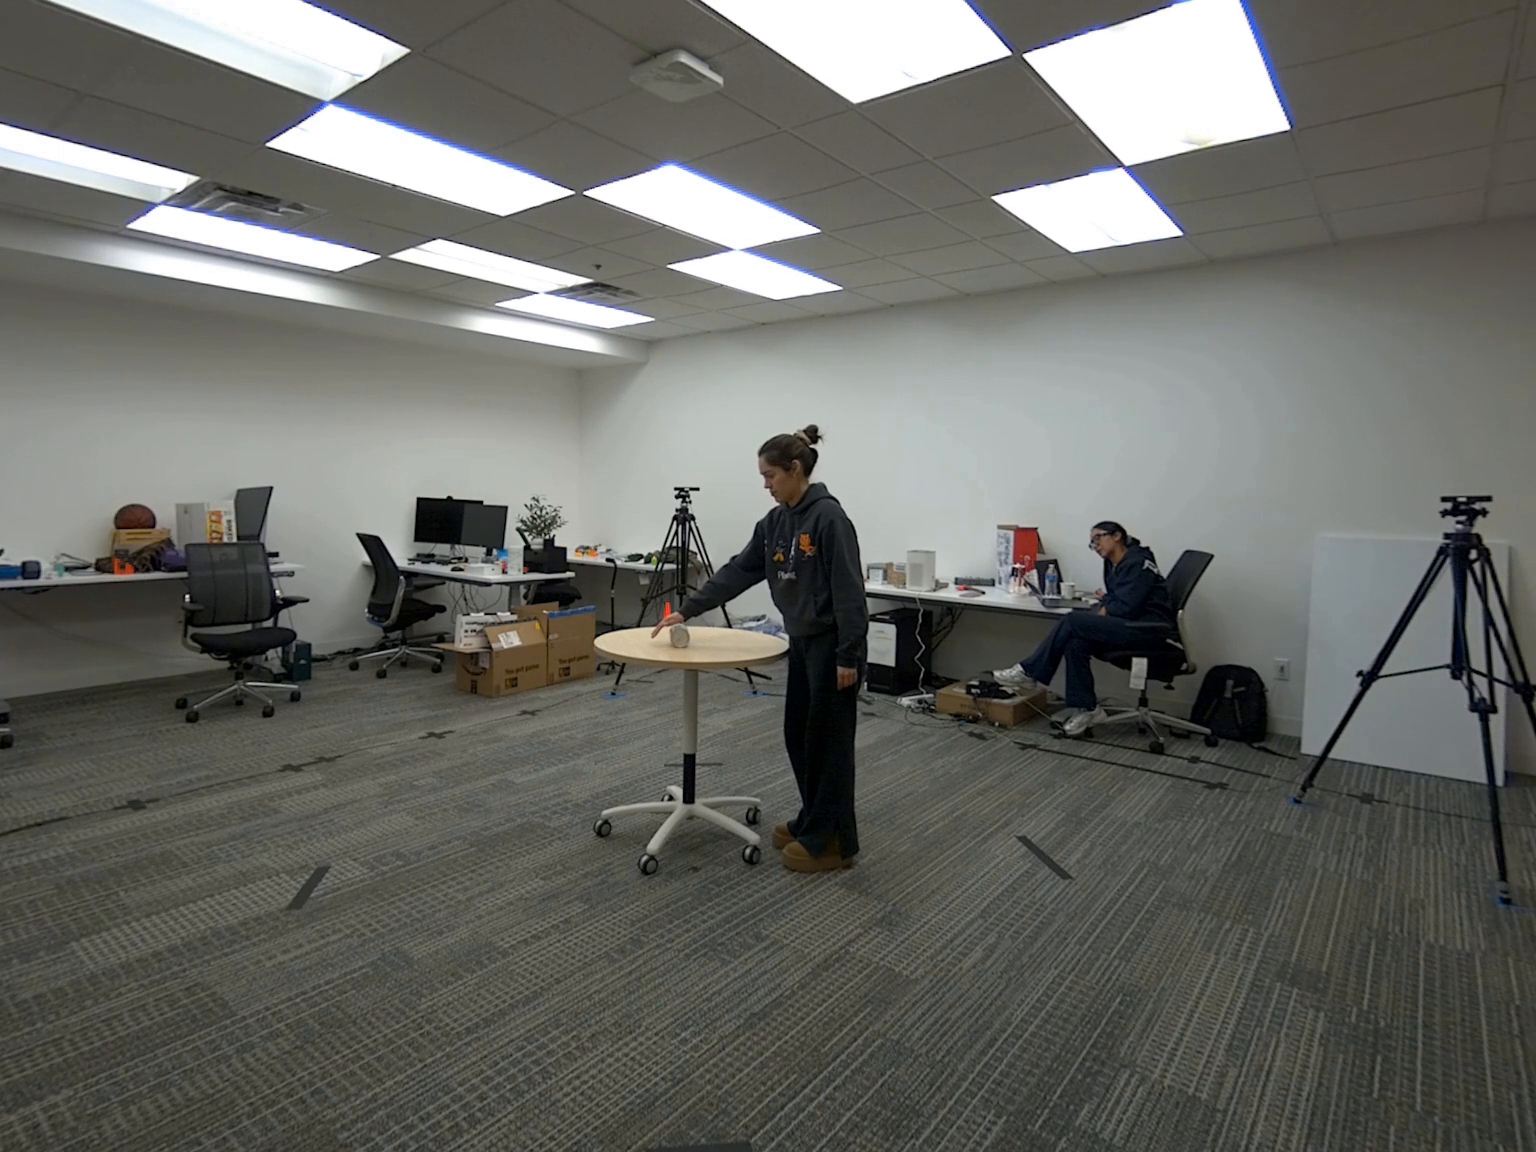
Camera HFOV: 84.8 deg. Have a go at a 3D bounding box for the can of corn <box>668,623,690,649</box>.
[{"bbox_3d":[-0.339,0.227,3.291,0.074,0.074,0.112,0,4,-4],"label":"can of corn"}]
